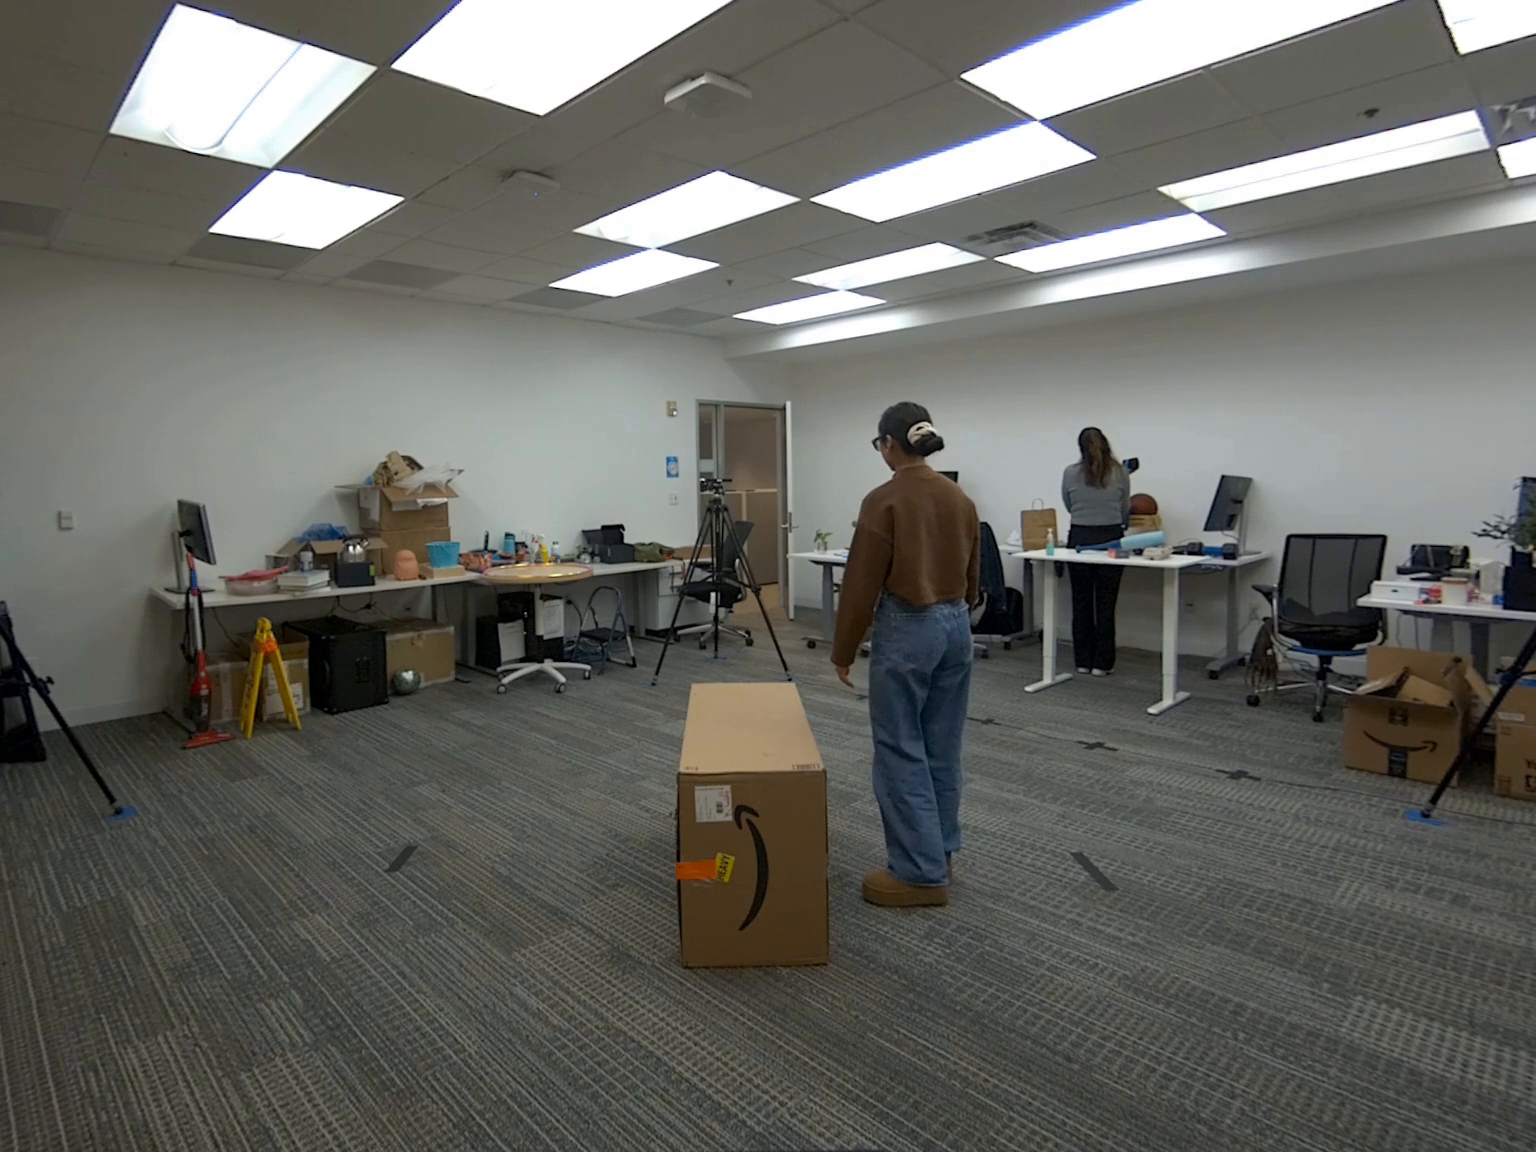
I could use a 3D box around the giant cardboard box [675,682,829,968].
[{"bbox_3d":[-0.070,0.777,2.939,0.425,0.575,1.032,-1,6,-3],"label":"giant cardboard box"}]
